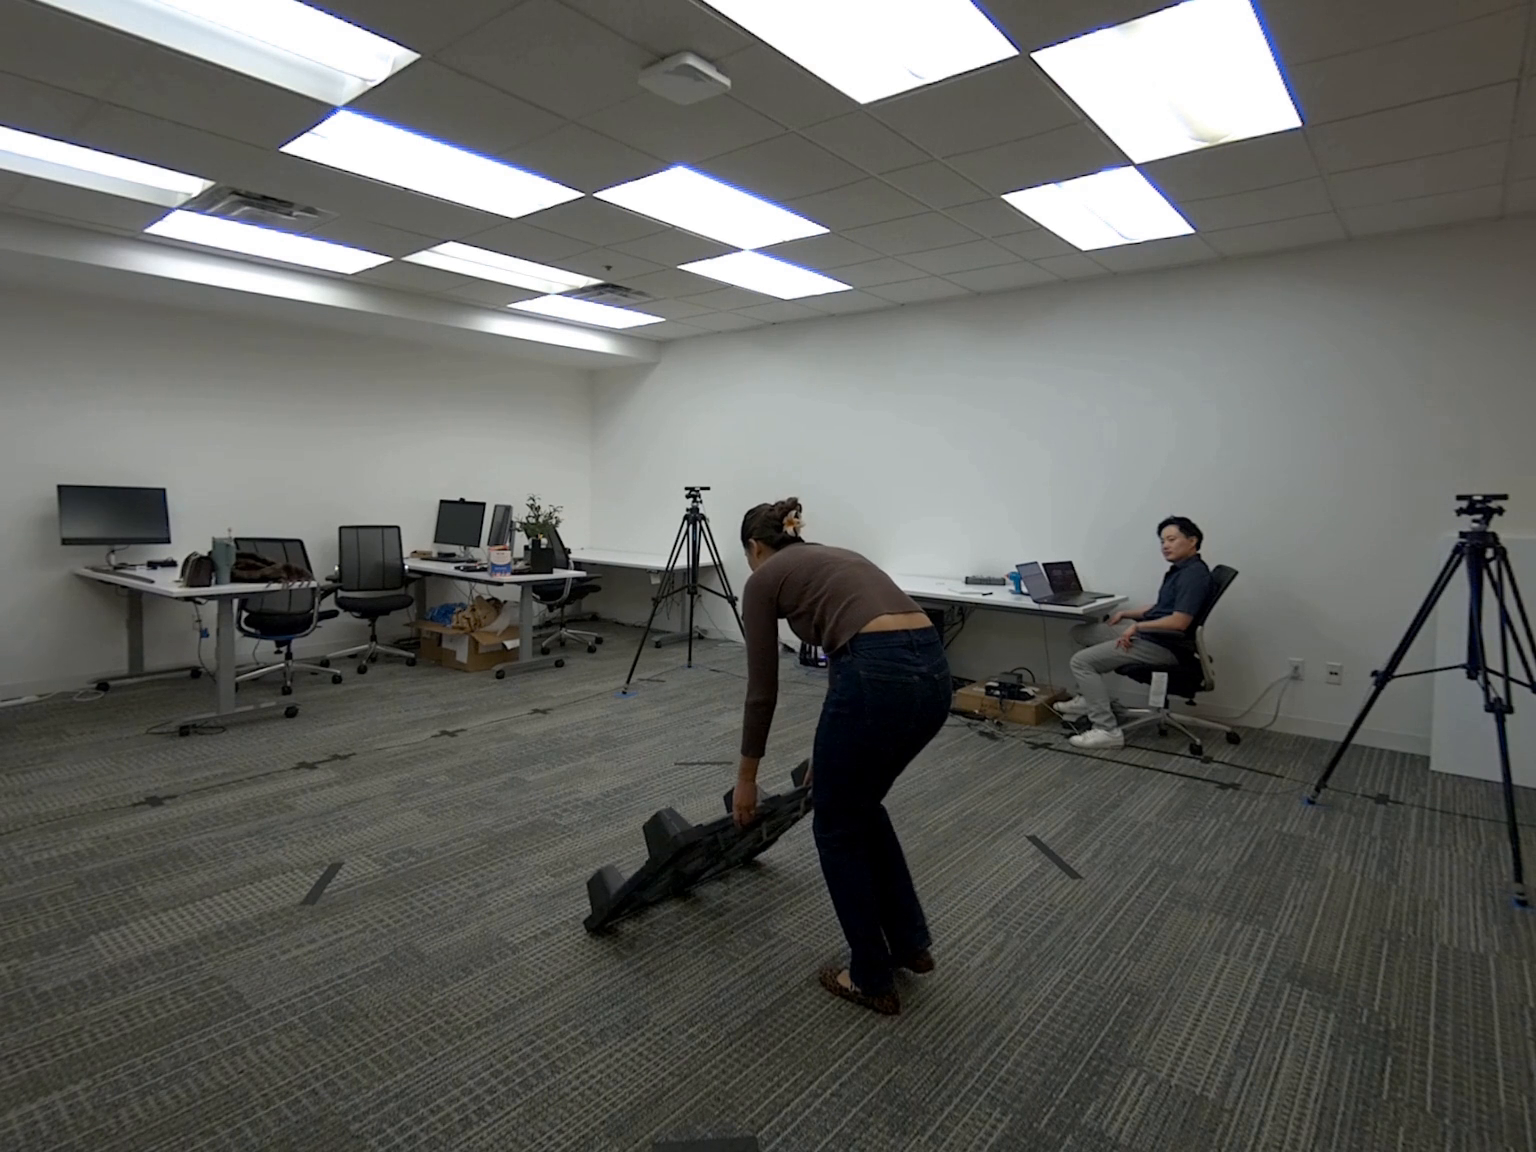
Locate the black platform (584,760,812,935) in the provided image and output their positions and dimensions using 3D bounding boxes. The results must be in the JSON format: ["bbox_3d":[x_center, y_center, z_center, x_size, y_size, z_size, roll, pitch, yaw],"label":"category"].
[{"bbox_3d":[-0.175,0.847,2.781,0.781,0.148,0.604,-5,-36,-48],"label":"black platform"}]
